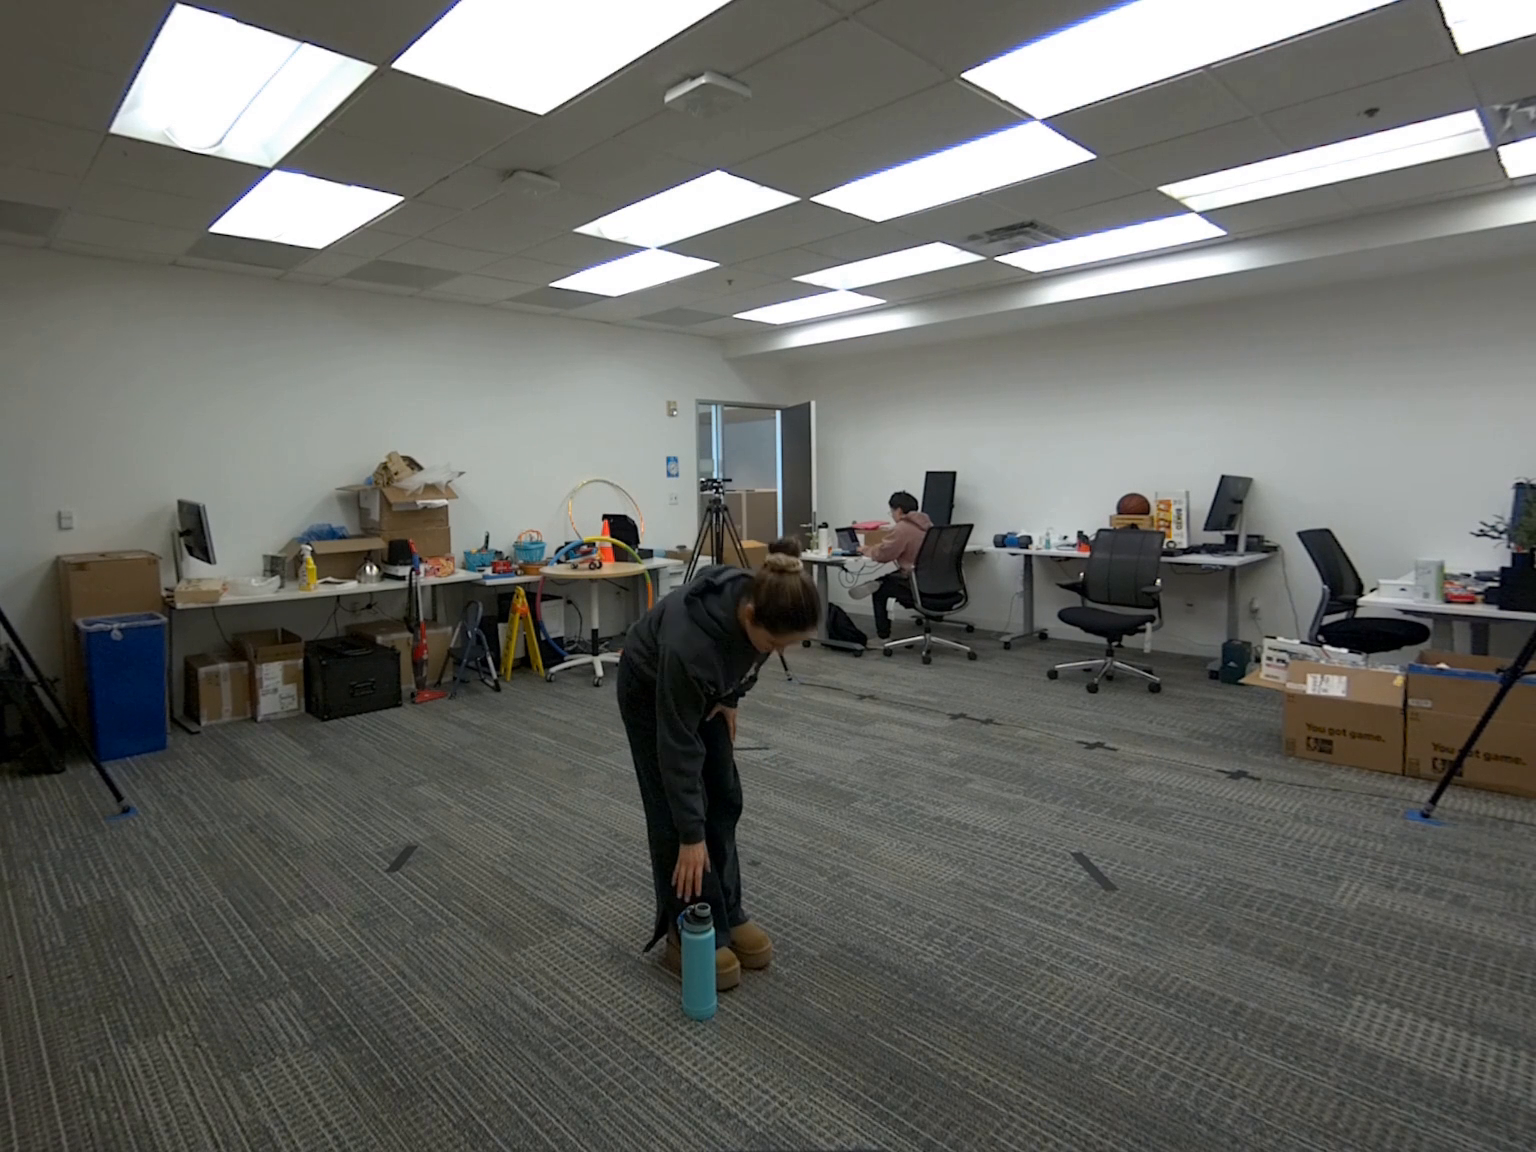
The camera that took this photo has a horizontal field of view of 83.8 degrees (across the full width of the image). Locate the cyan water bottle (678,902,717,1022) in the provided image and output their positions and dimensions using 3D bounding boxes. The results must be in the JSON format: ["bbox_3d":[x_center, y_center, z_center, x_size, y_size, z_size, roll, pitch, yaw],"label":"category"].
[{"bbox_3d":[-0.183,1.010,2.236,0.092,0.282,0.093,-2,3,-1],"label":"cyan water bottle"}]
